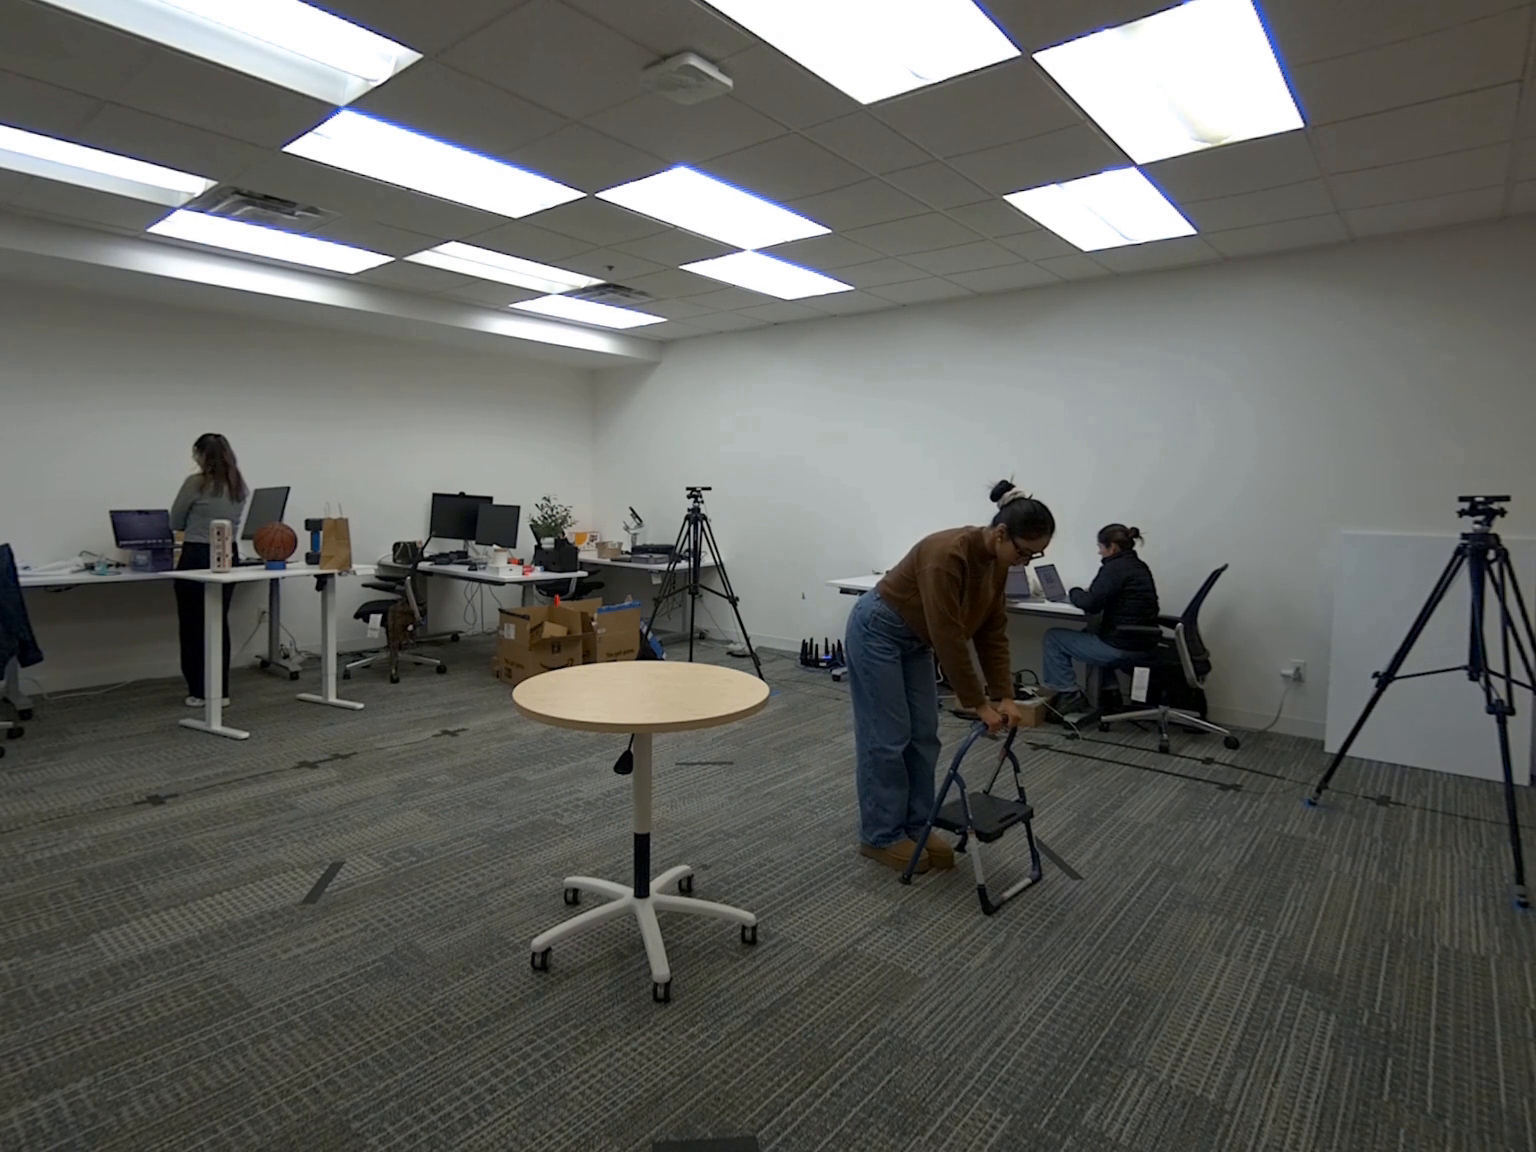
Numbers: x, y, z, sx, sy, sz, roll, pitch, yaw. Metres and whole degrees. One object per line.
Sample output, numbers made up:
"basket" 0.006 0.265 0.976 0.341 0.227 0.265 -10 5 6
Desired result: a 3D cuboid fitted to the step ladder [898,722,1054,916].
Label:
"step ladder" 0.737 0.796 3.046 0.361 0.605 0.417 3 3 42
